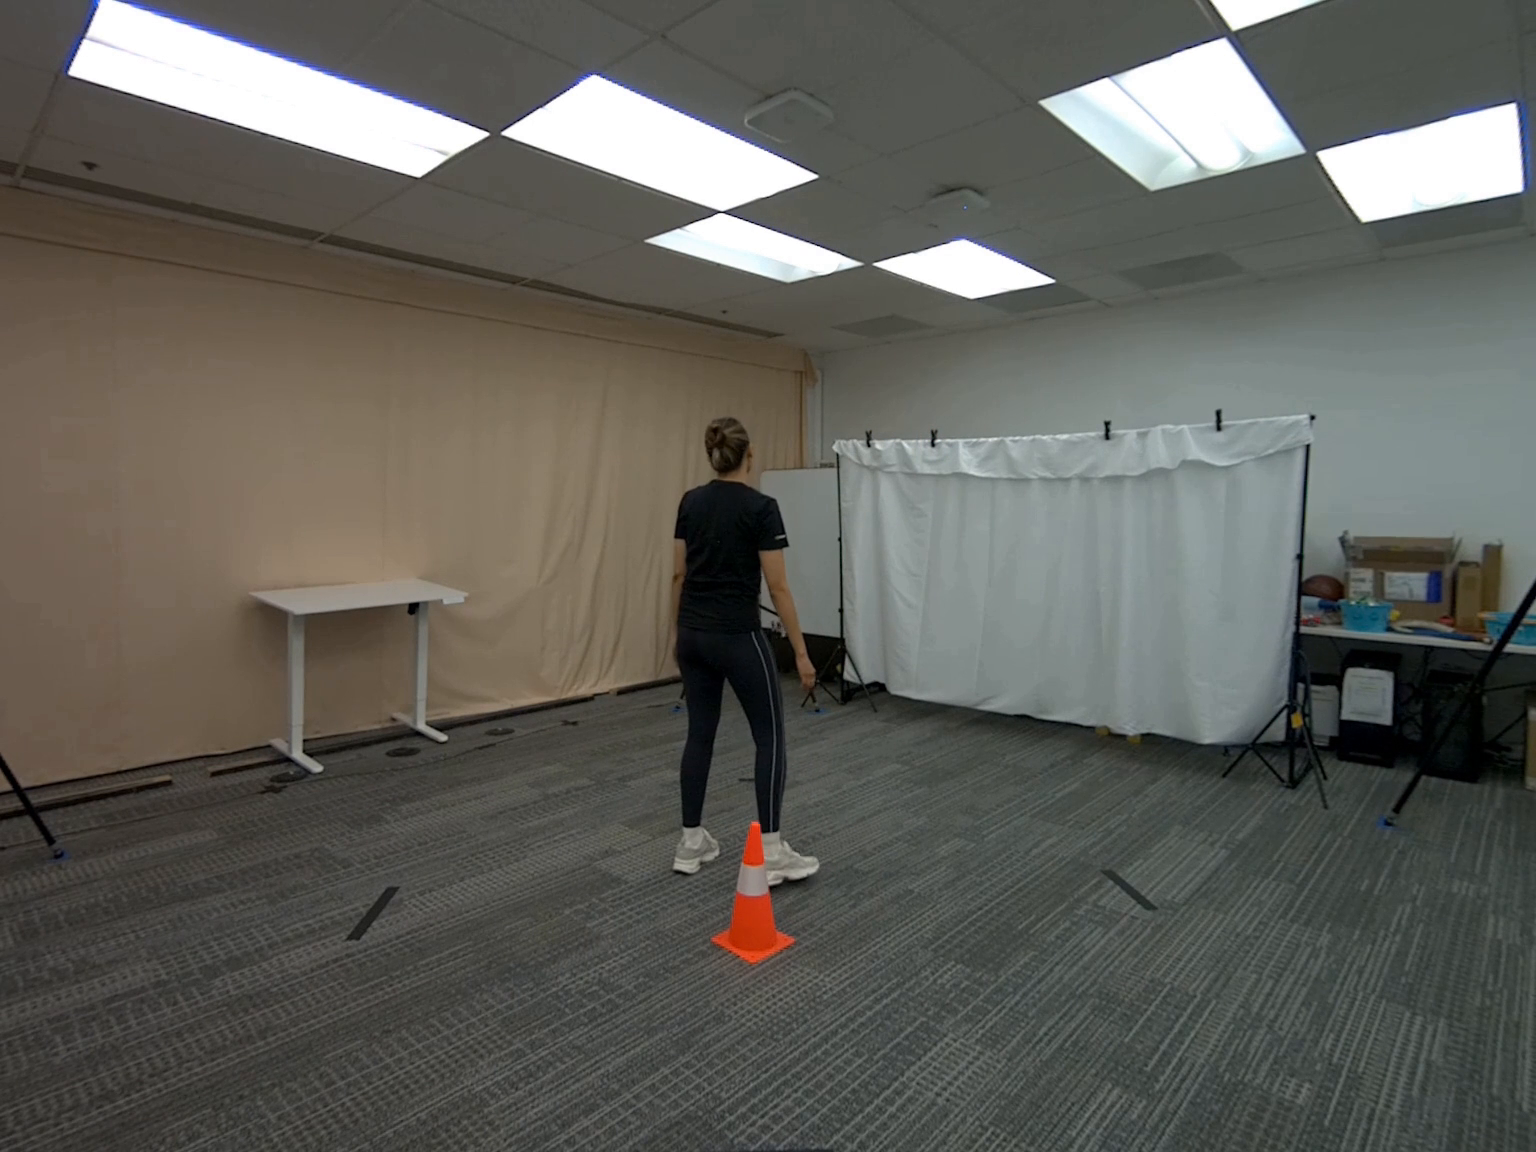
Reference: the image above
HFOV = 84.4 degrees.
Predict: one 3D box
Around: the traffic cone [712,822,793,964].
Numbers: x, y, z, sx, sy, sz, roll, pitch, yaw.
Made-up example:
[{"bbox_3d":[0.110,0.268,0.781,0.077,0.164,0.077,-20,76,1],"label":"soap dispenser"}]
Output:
[{"bbox_3d":[-0.046,0.988,2.680,0.197,0.383,0.211,-3,5,-34],"label":"traffic cone"}]
